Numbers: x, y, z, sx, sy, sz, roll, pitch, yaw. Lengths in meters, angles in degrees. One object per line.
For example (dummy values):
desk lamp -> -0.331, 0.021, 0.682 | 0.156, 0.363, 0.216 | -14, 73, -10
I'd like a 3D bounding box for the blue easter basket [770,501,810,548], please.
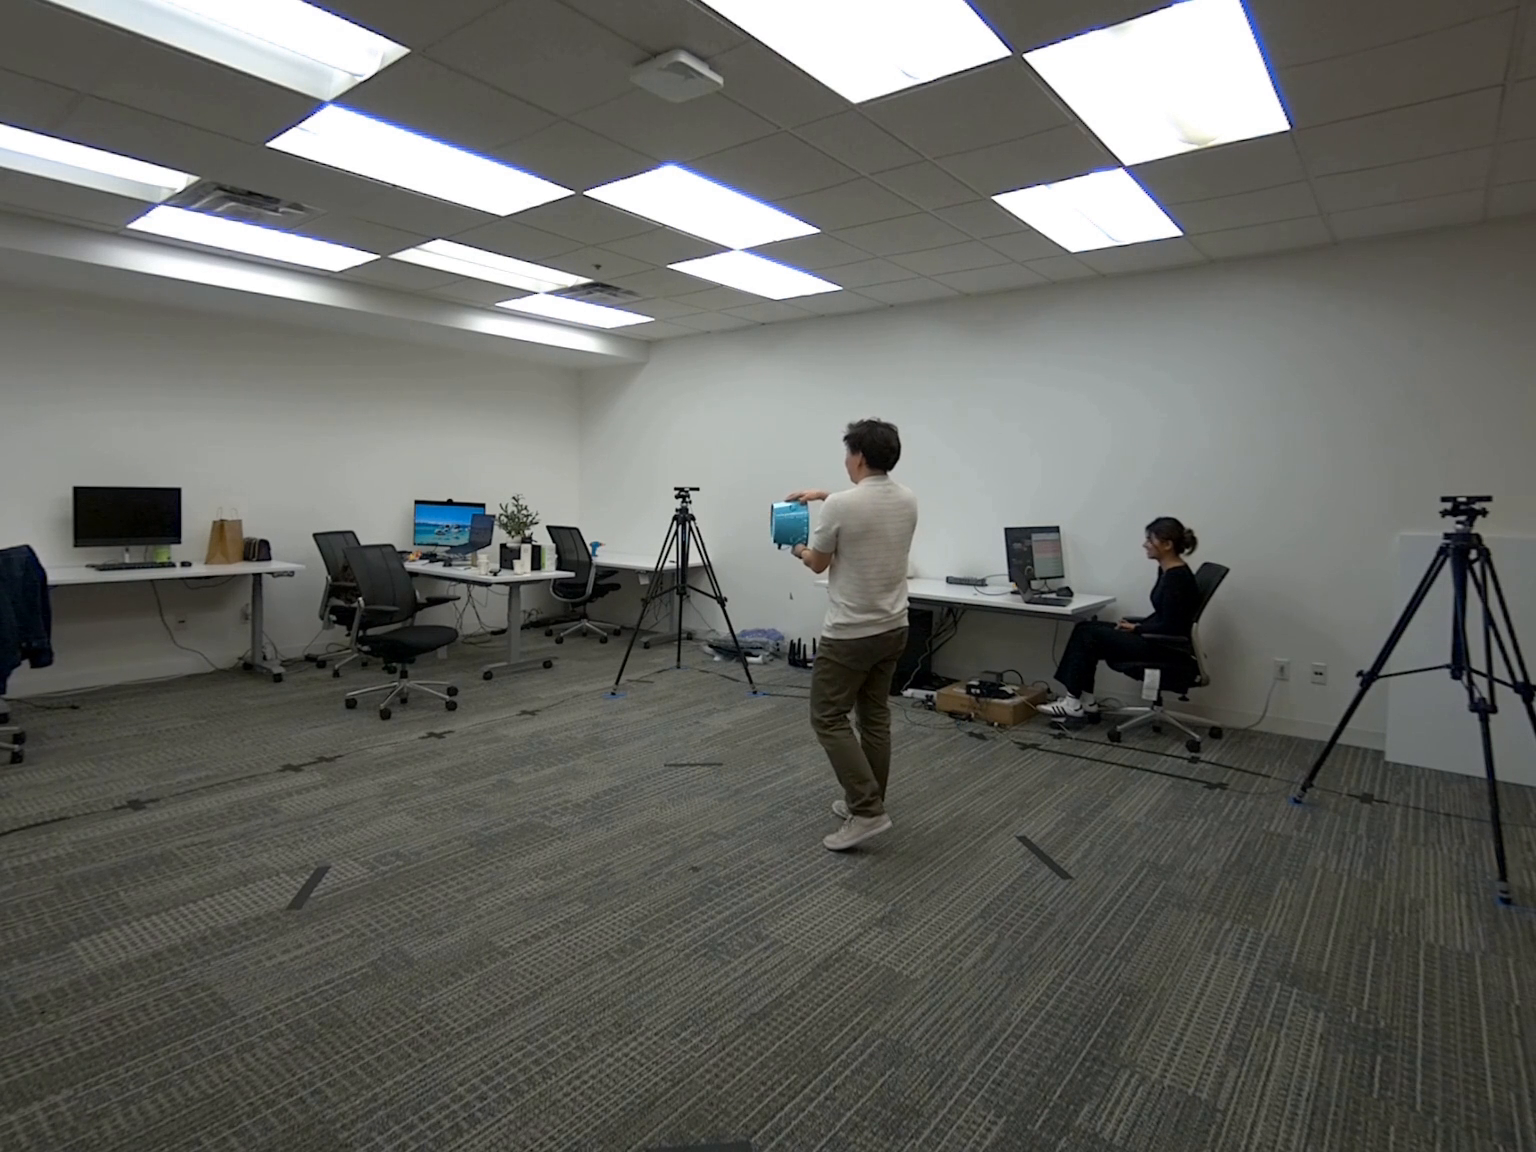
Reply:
blue easter basket -> 0.105, -0.236, 3.861 | 0.155, 0.243, 0.245 | 2, 4, -4
